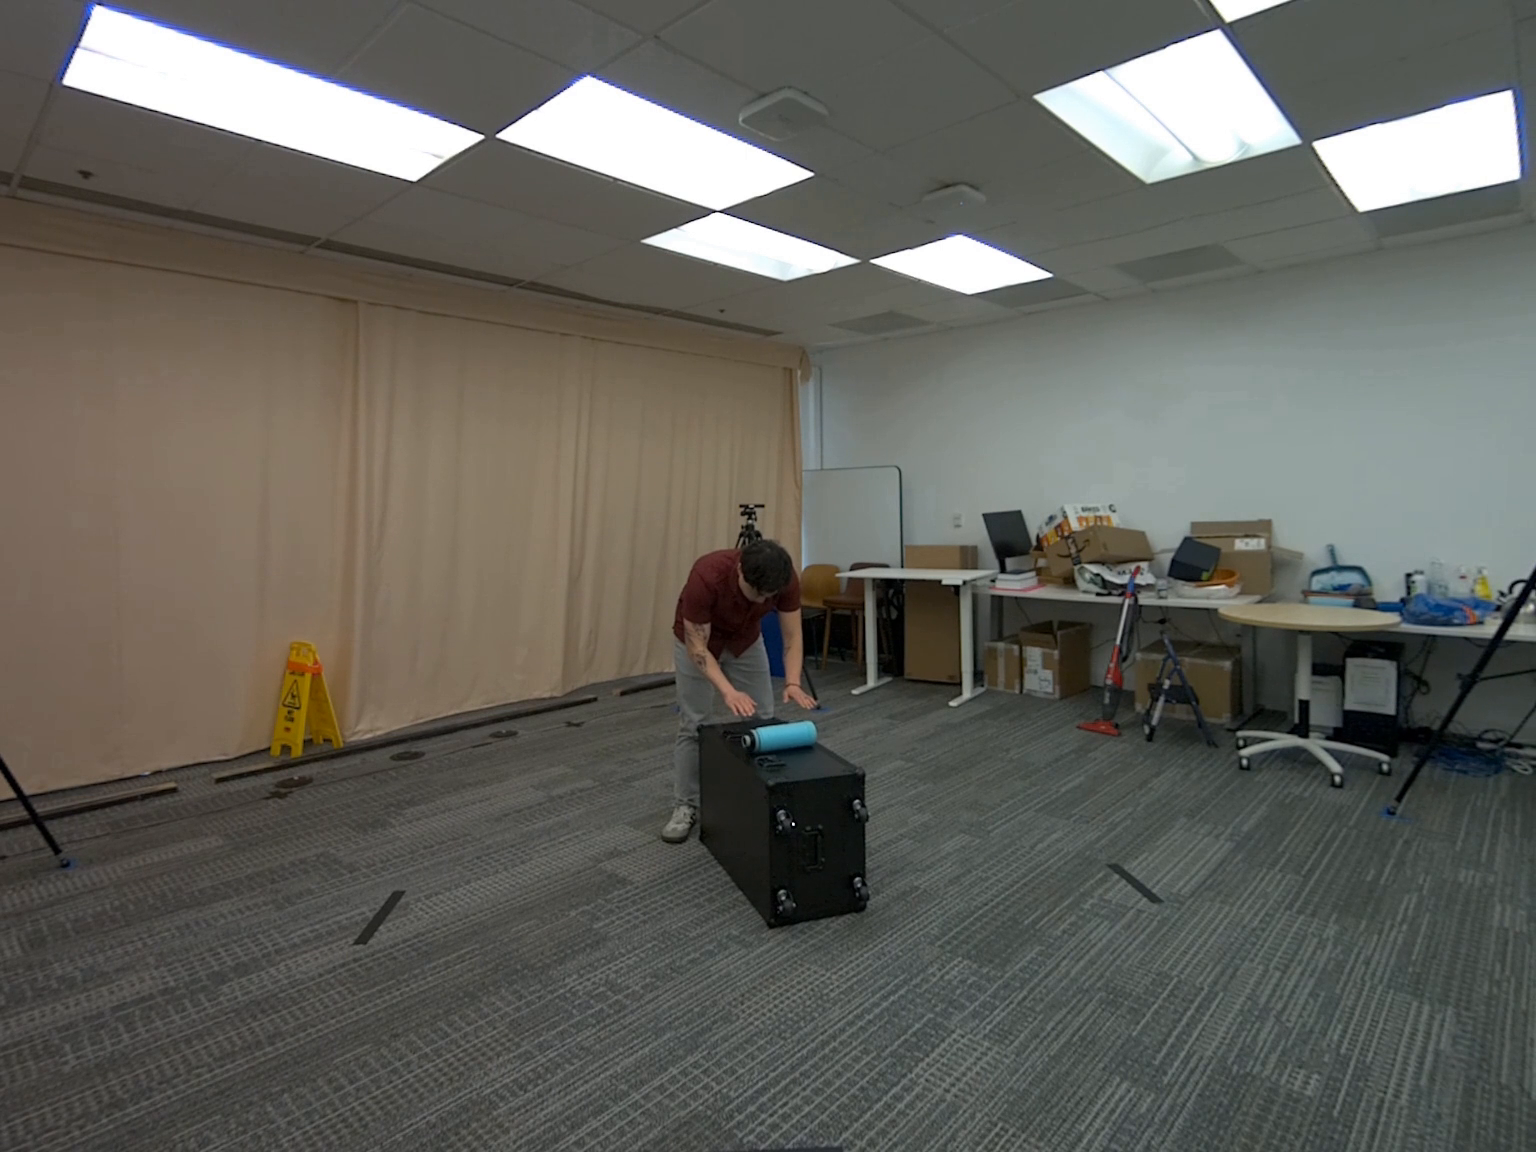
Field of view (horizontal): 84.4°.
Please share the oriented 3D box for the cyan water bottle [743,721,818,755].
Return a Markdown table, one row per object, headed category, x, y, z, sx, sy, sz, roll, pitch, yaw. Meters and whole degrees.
| category | x | y | z | sx | sy | sz | roll | pitch | yaw |
| --- | --- | --- | --- | --- | --- | --- | --- | --- | --- |
| cyan water bottle | 0.038 | 0.593 | 3.118 | 0.277 | 0.092 | 0.094 | -4 | 5 | -21 |
